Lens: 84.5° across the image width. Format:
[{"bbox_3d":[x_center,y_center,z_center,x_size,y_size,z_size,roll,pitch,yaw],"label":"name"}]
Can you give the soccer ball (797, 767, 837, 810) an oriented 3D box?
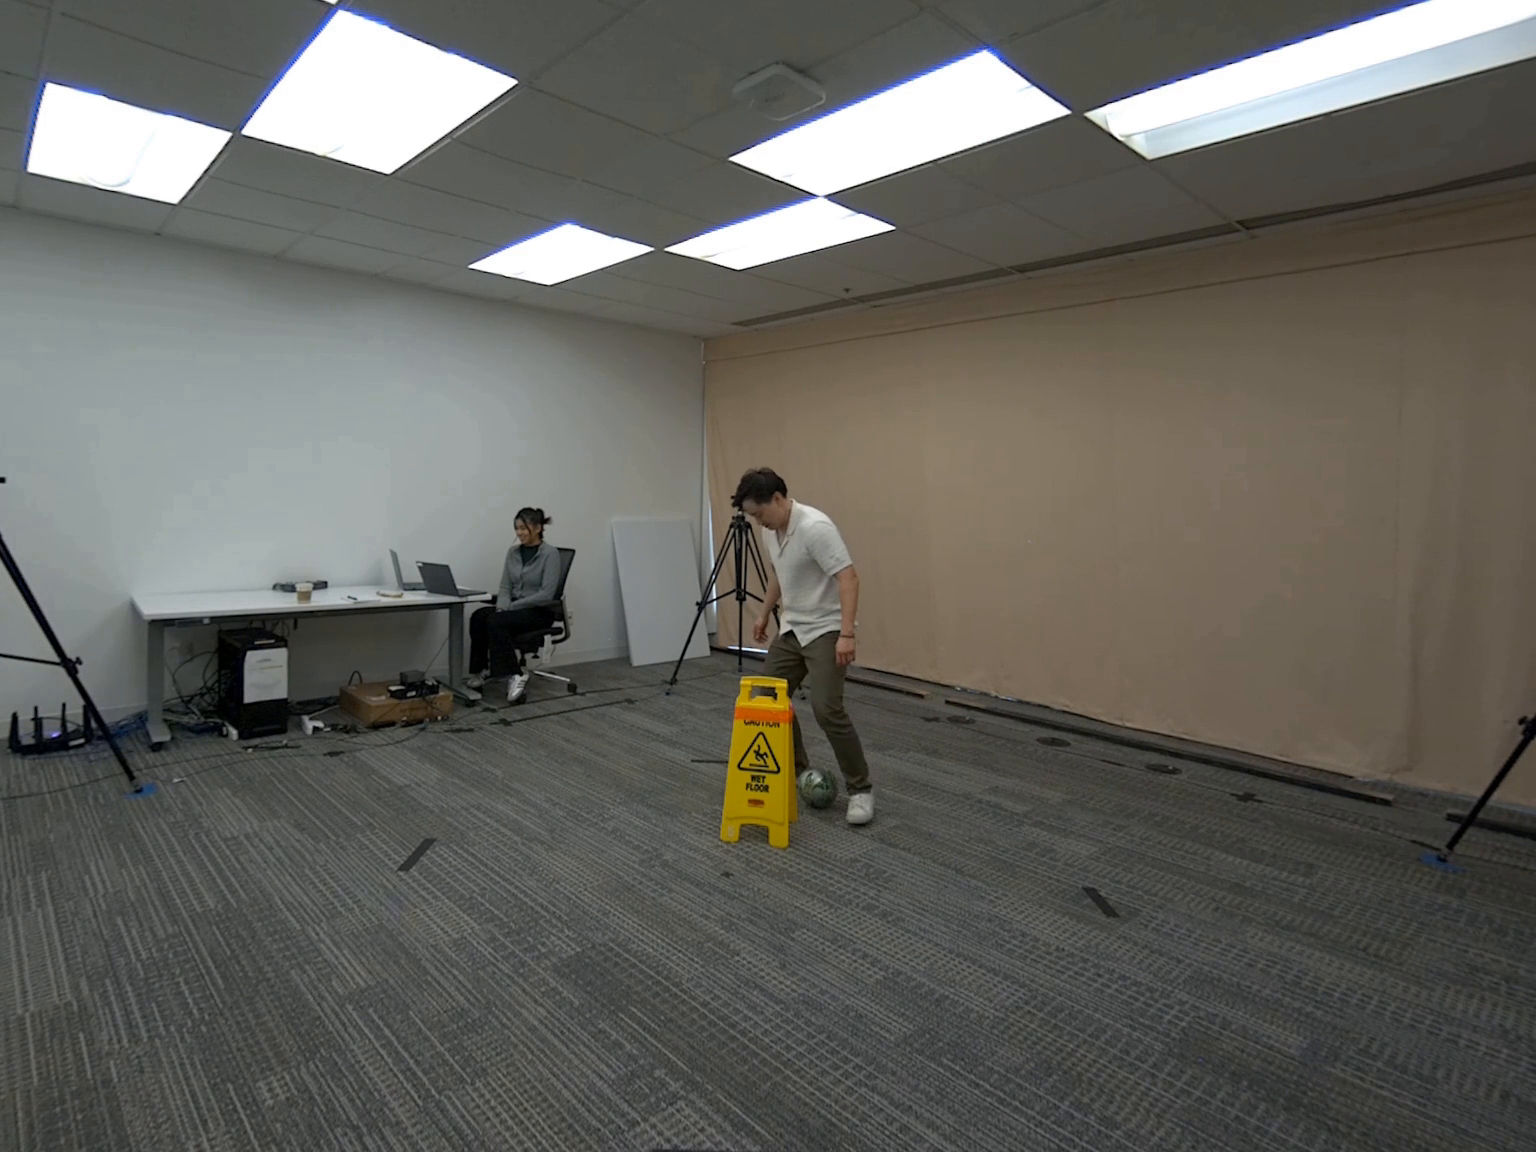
[{"bbox_3d":[0.209,0.950,3.819,0.187,0.187,0.188,1,4,-1],"label":"soccer ball"}]
